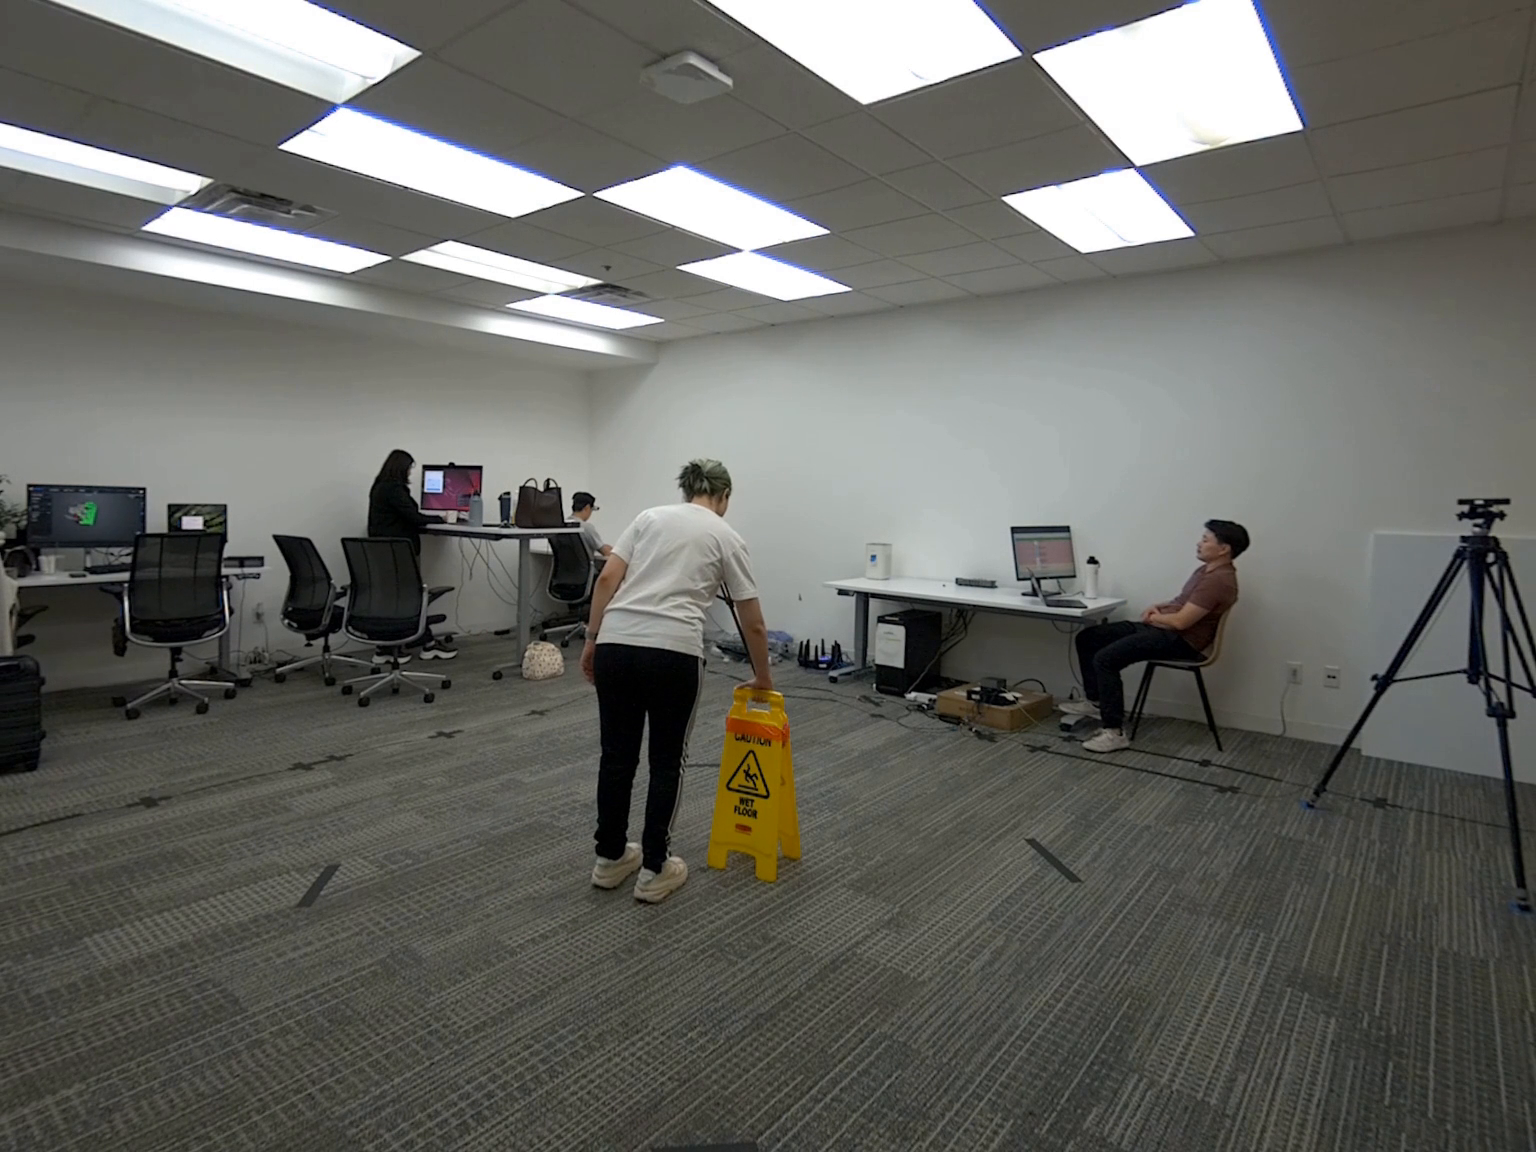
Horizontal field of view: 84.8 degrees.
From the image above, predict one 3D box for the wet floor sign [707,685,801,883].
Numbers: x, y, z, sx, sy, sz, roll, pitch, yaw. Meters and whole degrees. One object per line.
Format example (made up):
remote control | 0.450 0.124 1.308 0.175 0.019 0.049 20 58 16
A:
wet floor sign | -0.053 0.739 3.165 0.290 0.645 0.282 3 2 29
